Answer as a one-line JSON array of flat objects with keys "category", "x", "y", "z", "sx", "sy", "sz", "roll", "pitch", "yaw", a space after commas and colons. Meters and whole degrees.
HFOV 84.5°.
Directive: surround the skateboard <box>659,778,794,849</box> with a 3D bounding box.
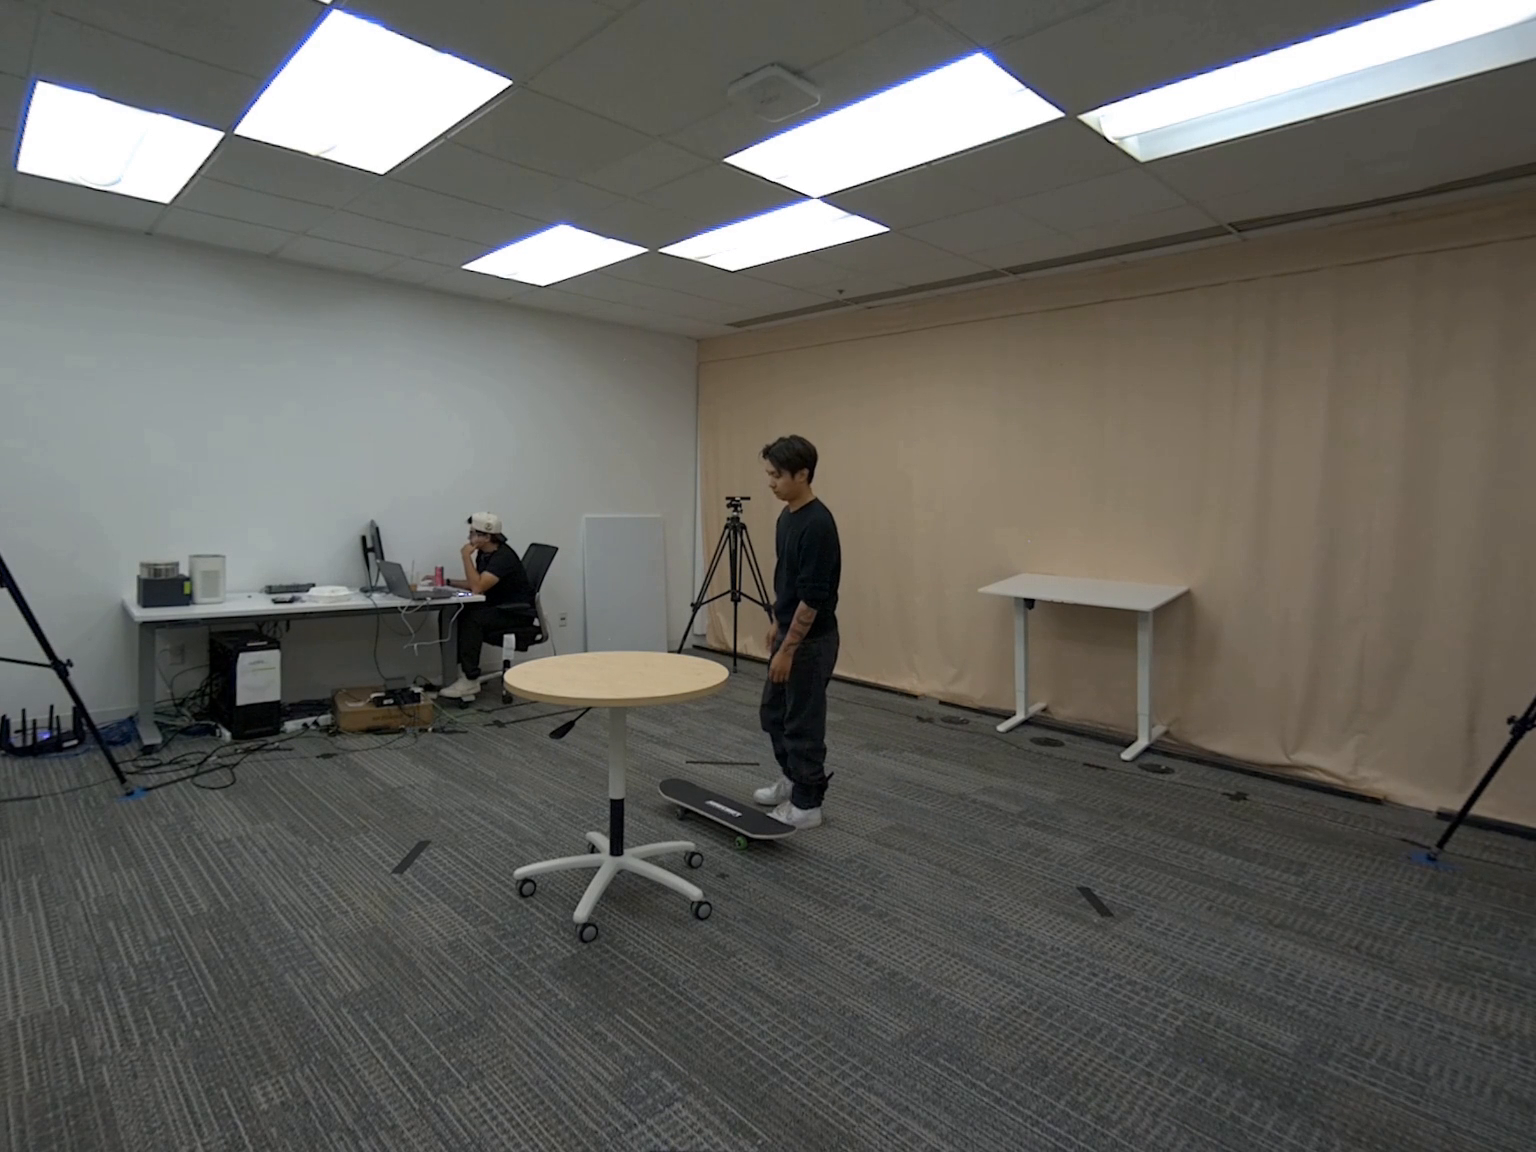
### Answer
[{"category": "skateboard", "x": -0.199, "y": 1.014, "z": 3.552, "sx": 0.189, "sy": 0.110, "sz": 0.806, "roll": -2, "pitch": 6, "yaw": -42}]
